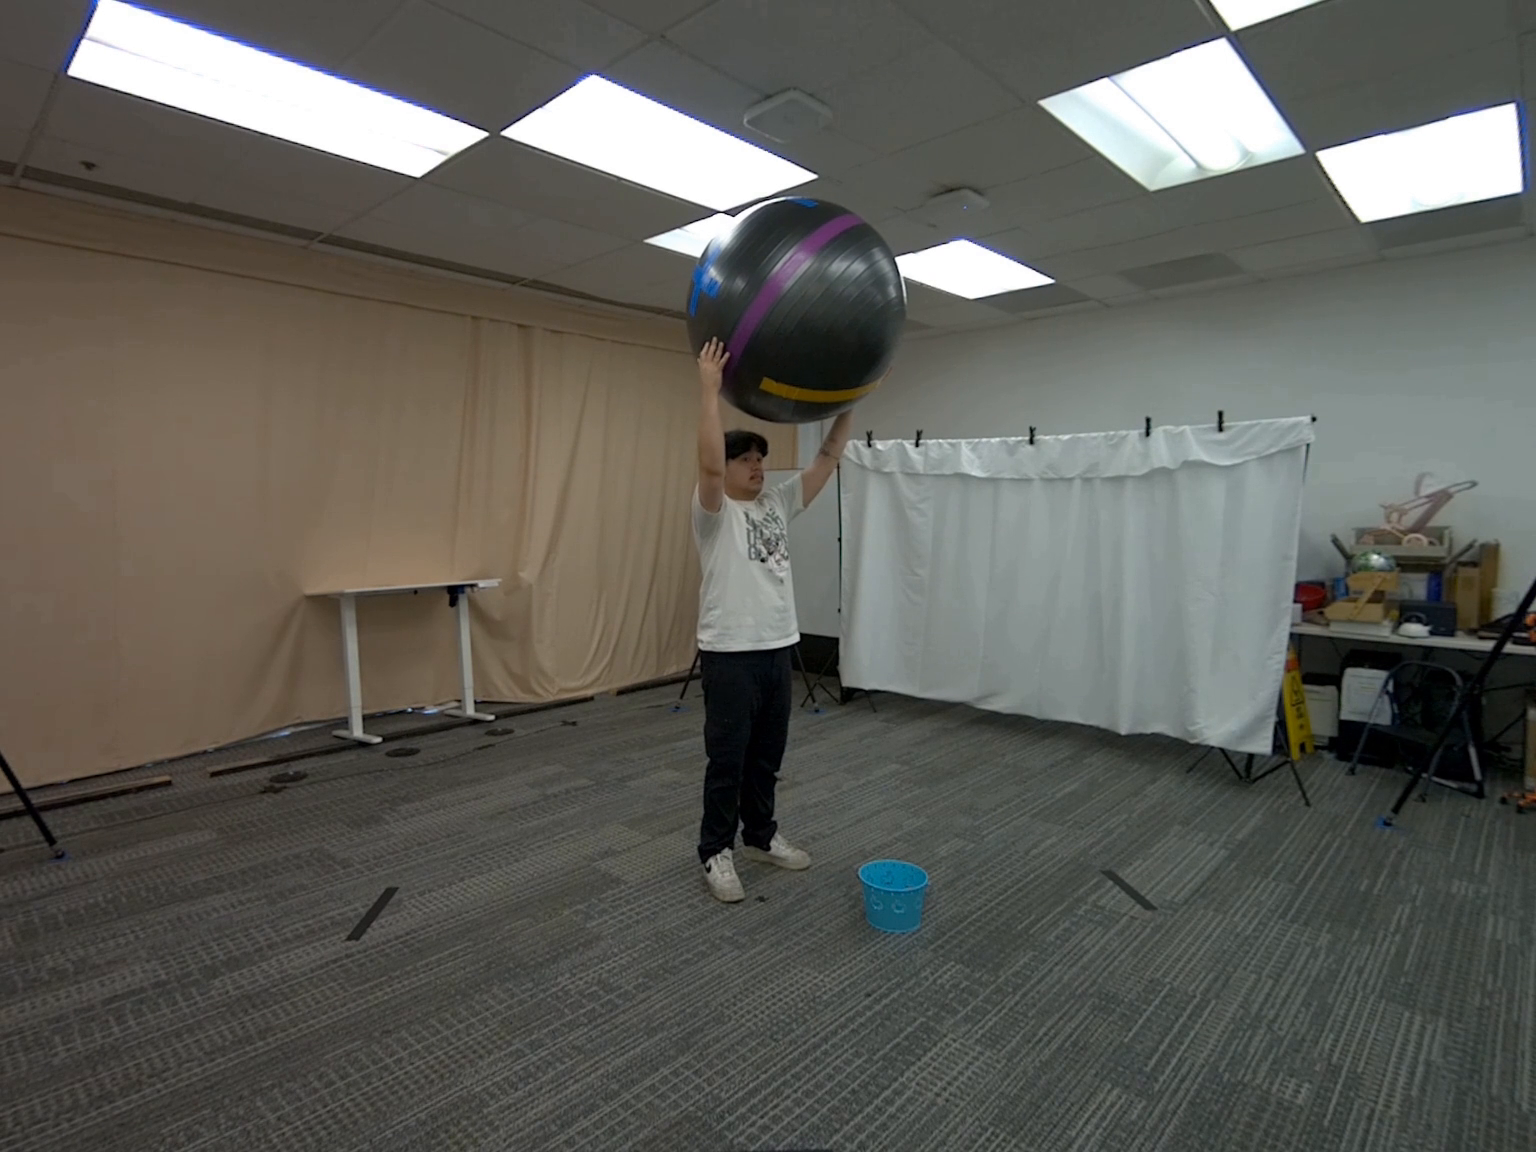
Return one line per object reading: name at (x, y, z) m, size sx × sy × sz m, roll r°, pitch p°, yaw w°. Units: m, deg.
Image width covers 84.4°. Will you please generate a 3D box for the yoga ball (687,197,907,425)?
yoga ball at (0.098, -0.907, 2.926) m, size 0.757 × 0.756 × 0.760 m, roll 0°, pitch 4°, yaw -2°
